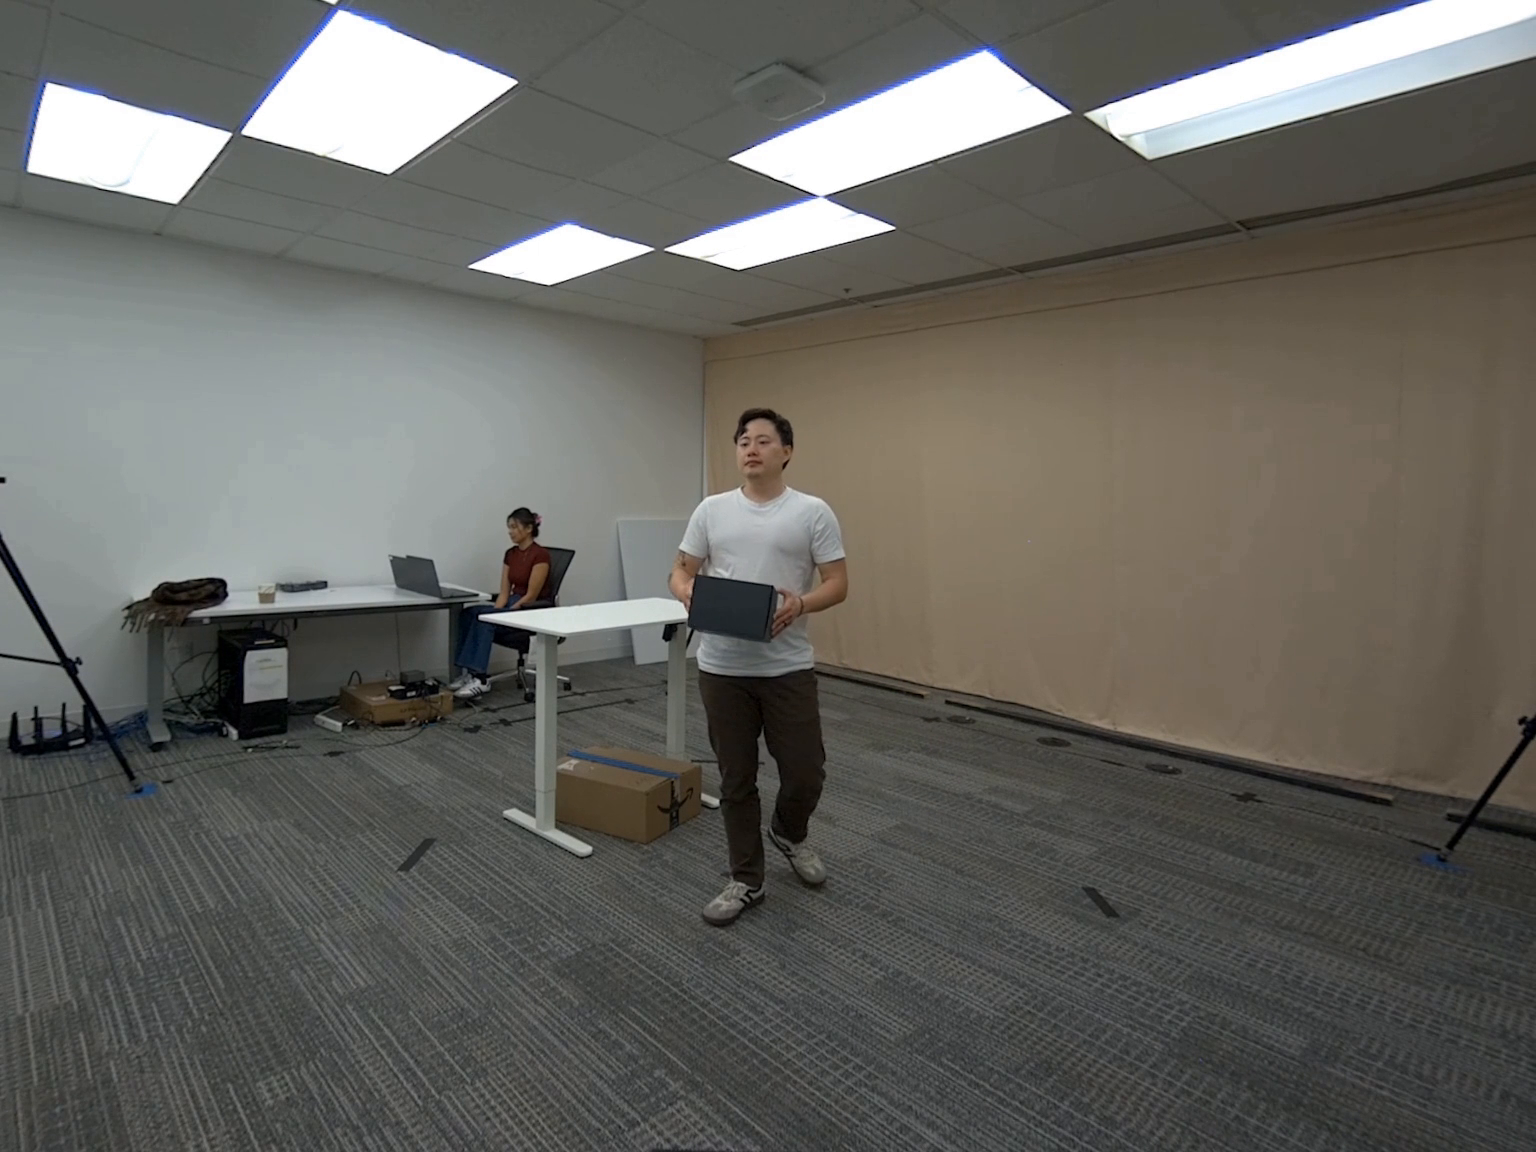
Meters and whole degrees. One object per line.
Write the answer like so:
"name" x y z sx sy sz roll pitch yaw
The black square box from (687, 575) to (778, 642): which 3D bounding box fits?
"black square box" -0.097 0.095 2.474 0.231 0.156 0.213 8 -5 15
